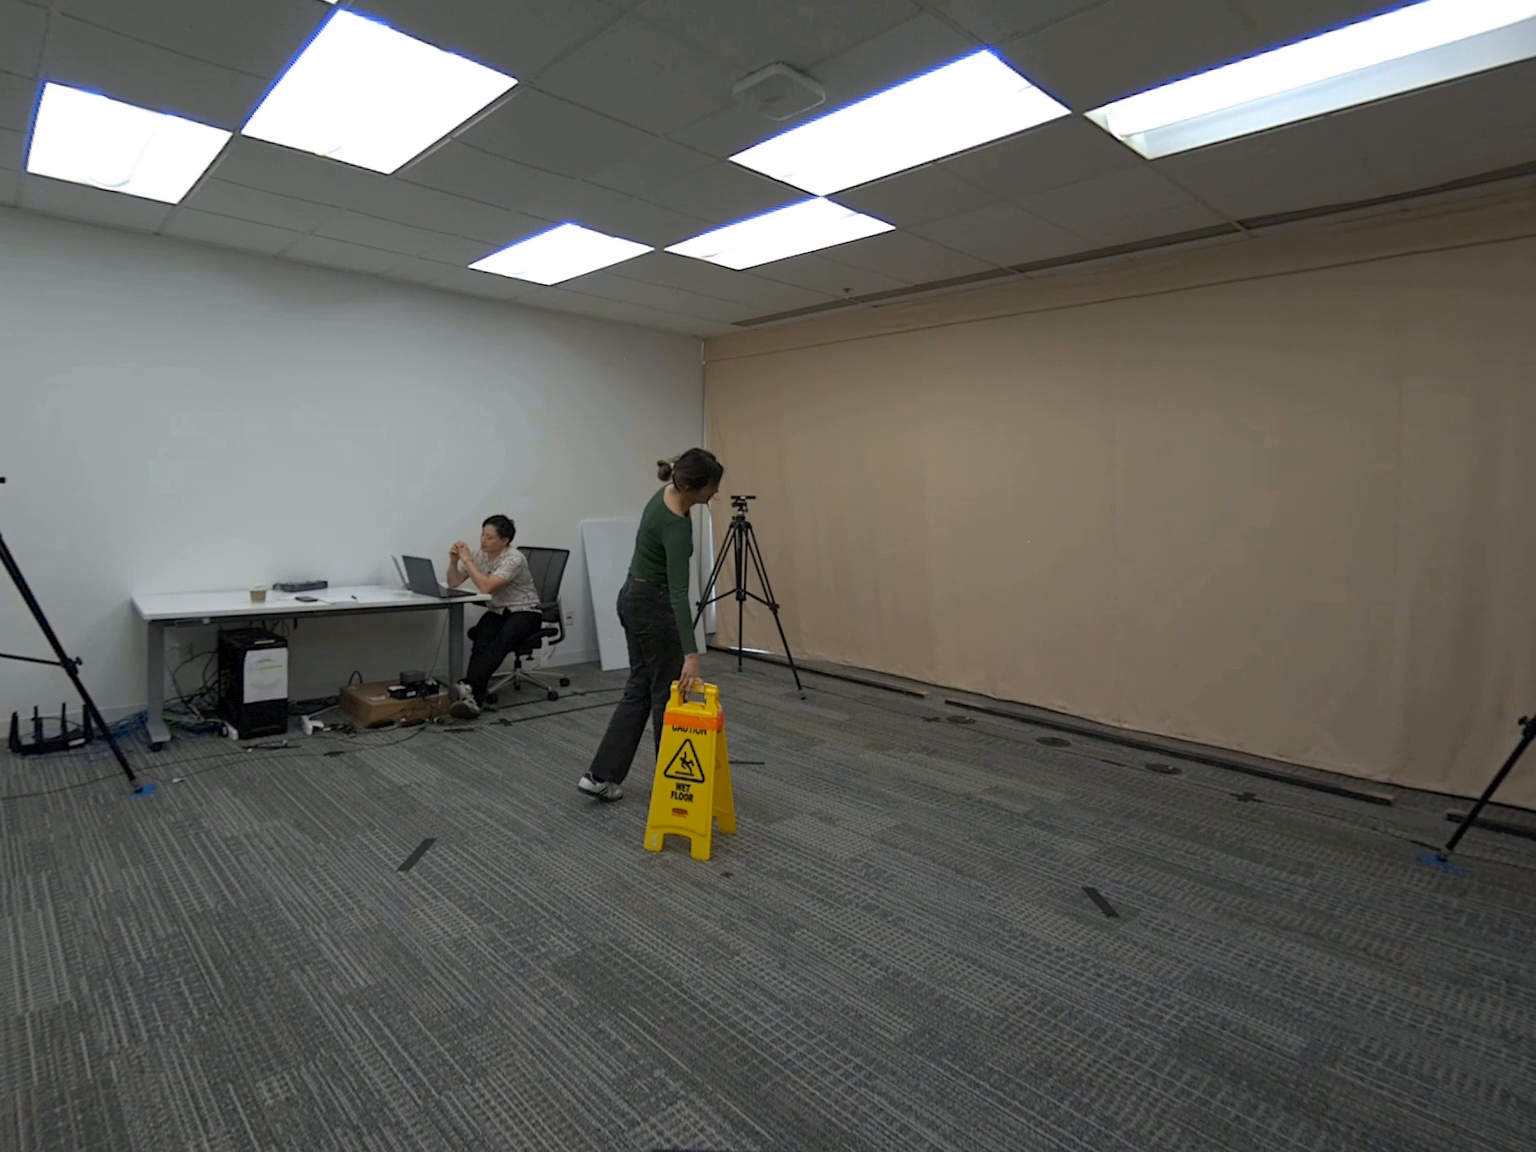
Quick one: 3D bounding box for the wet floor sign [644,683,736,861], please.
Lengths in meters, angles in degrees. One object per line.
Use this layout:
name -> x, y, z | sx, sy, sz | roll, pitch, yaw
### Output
wet floor sign -> -0.311, 0.752, 3.386 | 0.287, 0.644, 0.286 | 1, 4, 20
